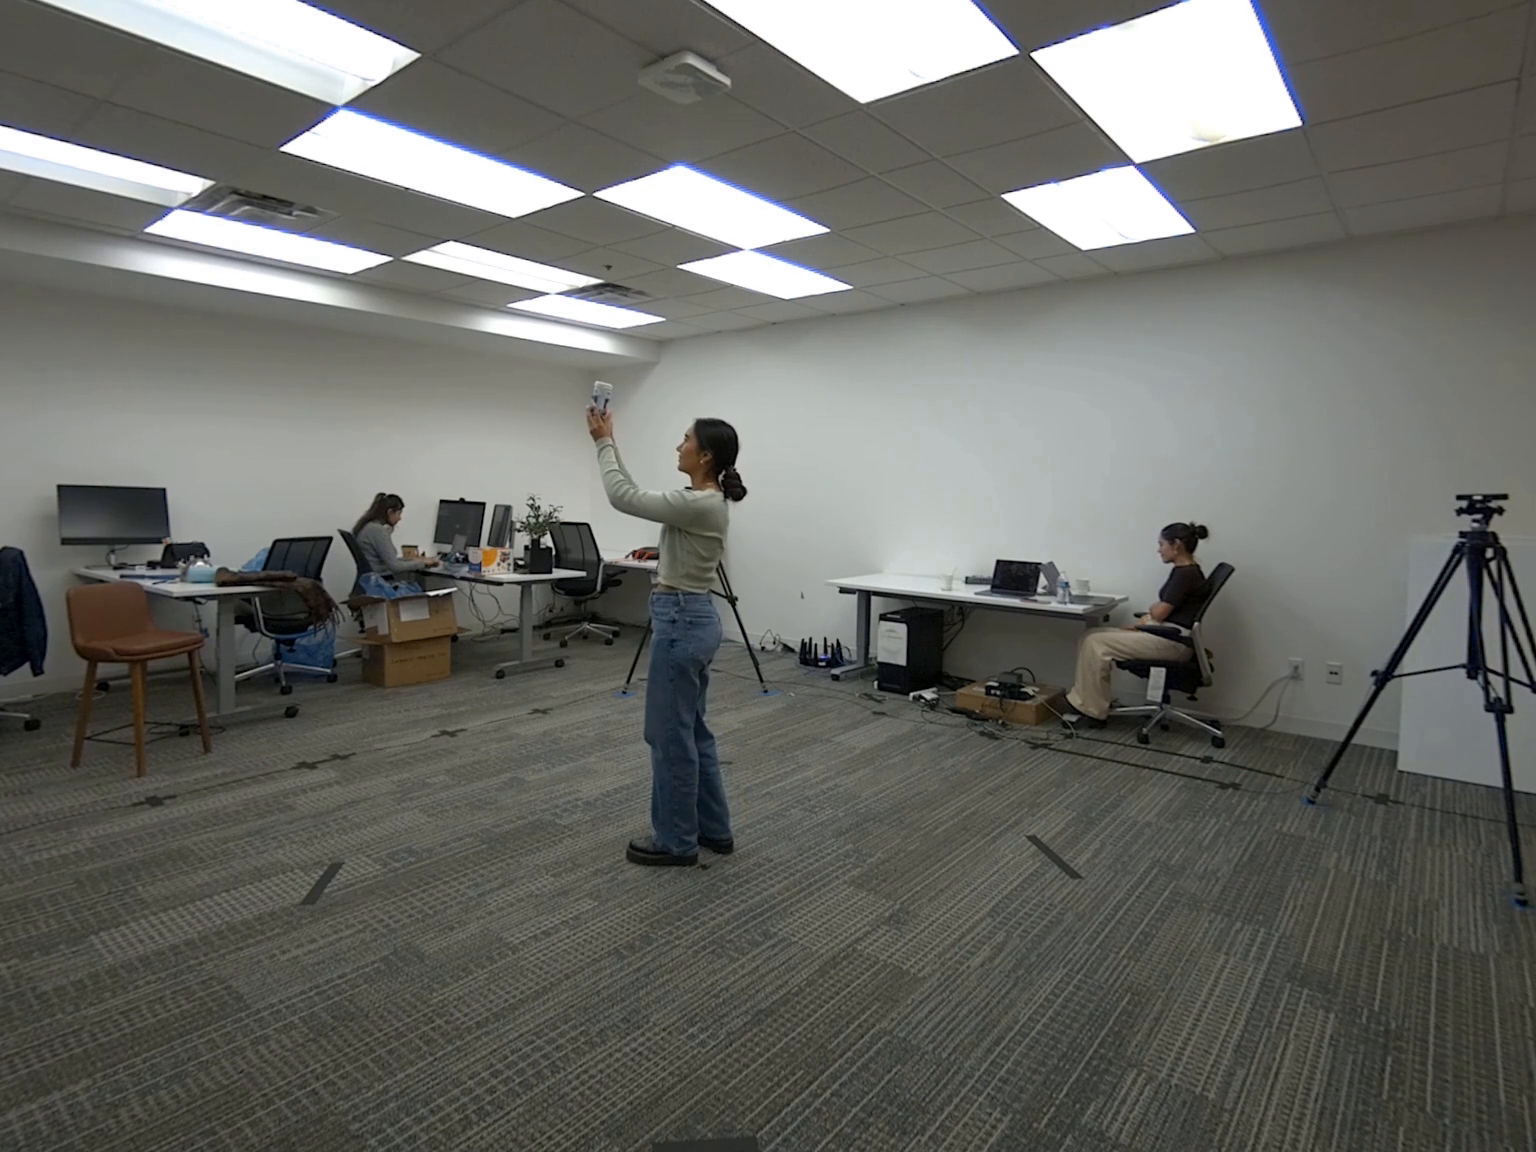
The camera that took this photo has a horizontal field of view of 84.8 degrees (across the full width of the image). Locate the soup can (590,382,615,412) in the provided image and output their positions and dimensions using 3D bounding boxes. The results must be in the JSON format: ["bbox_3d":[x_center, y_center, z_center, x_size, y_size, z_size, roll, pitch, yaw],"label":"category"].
[{"bbox_3d":[-0.622,-0.654,3.139,0.067,0.121,0.067,9,5,-3],"label":"soup can"}]
